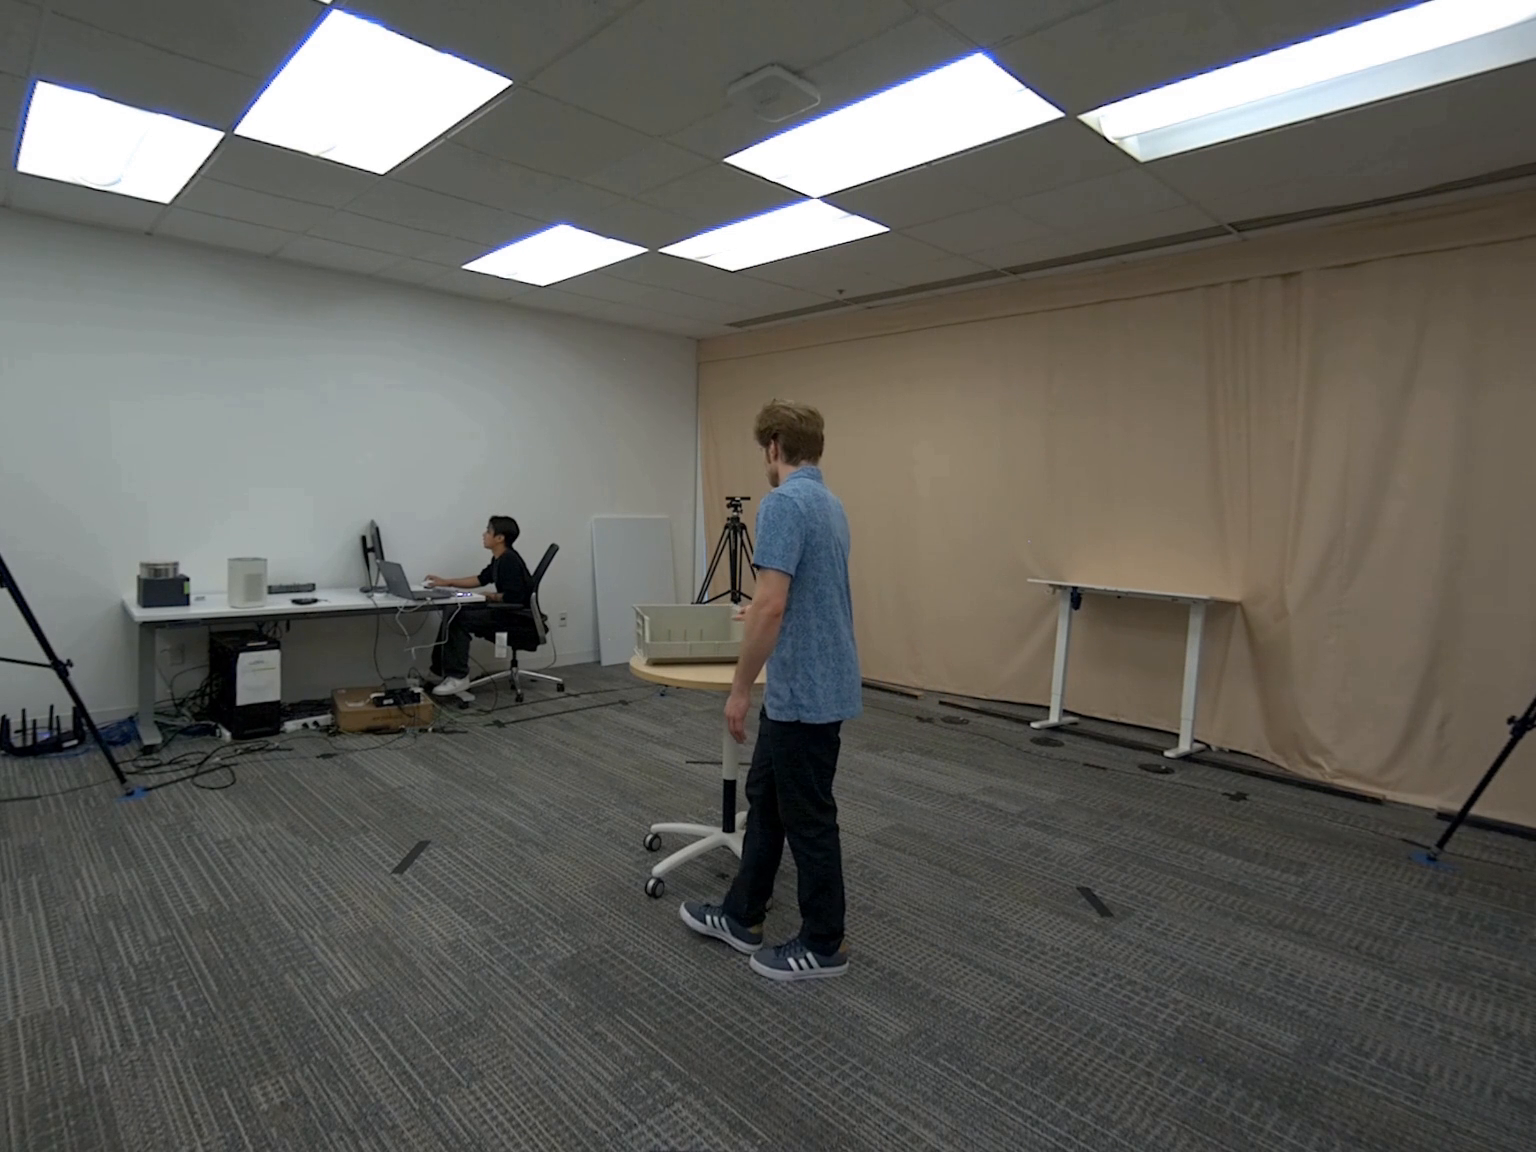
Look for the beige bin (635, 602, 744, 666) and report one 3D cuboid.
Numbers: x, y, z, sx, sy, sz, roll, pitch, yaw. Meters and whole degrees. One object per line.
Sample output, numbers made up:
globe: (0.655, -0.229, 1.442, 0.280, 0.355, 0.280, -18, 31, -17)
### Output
beige bin: (-0.291, 0.220, 3.198, 0.417, 0.189, 0.382, 0, 3, -15)
